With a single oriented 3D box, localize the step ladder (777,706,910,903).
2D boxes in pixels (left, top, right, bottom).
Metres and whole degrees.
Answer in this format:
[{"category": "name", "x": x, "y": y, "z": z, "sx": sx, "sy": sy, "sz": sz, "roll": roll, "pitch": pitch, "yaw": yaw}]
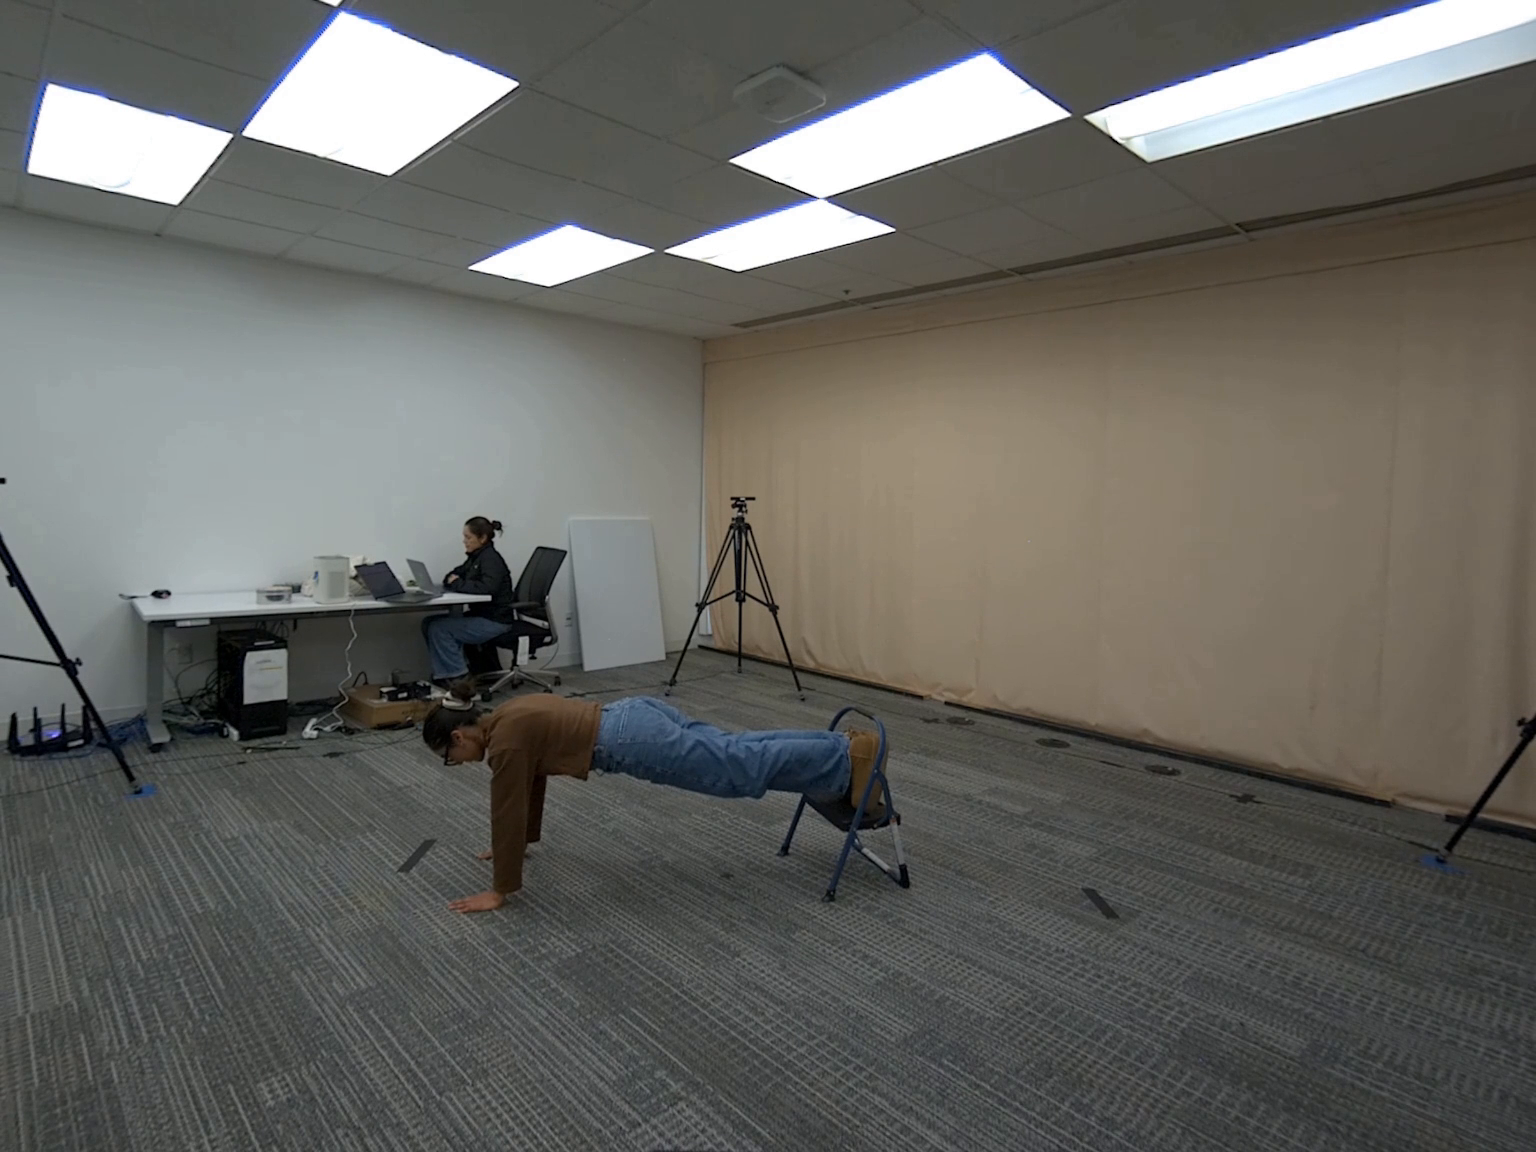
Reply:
[{"category": "step ladder", "x": 0.279, "y": 0.811, "z": 3.156, "sx": 0.343, "sy": 0.605, "sz": 0.439, "roll": 0, "pitch": 4, "yaw": -23}]
